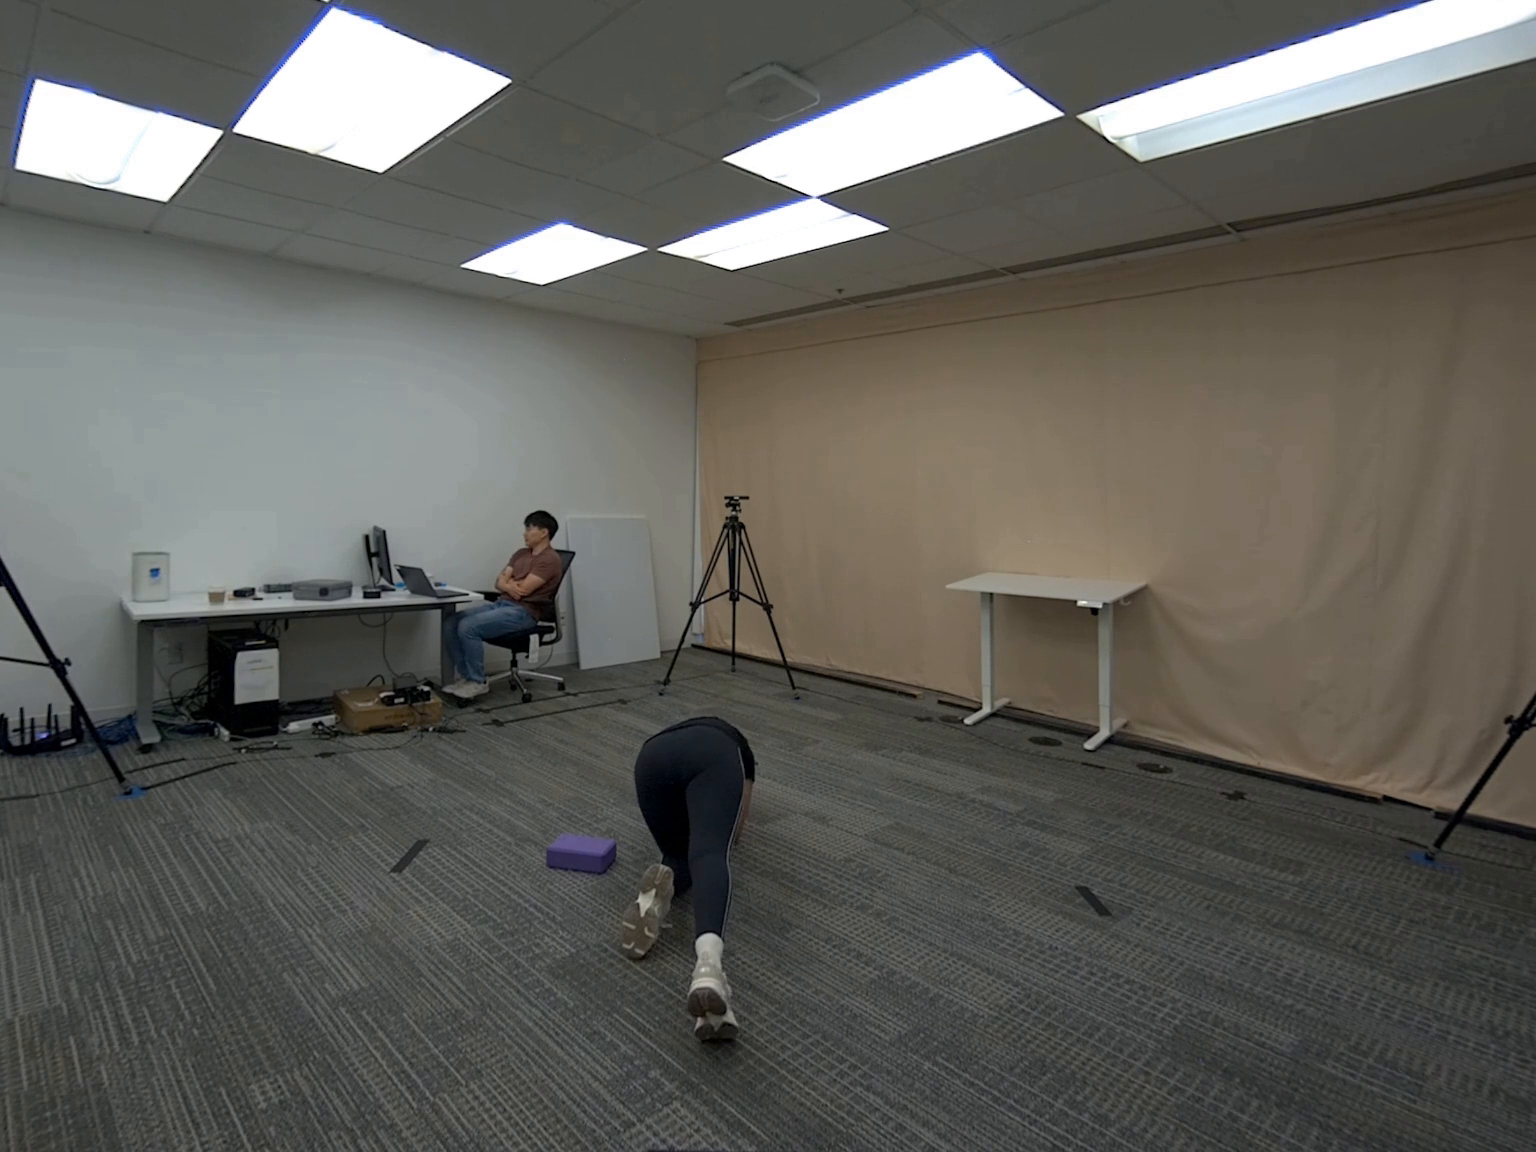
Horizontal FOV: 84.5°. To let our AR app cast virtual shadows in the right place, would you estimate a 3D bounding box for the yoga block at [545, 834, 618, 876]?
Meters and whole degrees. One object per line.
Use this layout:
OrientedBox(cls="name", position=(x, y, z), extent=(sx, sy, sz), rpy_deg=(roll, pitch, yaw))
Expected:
OrientedBox(cls="yoga block", position=(-0.710, 1.044, 3.169), extent=(0.232, 0.076, 0.148), rpy_deg=(3, 6, 12))
